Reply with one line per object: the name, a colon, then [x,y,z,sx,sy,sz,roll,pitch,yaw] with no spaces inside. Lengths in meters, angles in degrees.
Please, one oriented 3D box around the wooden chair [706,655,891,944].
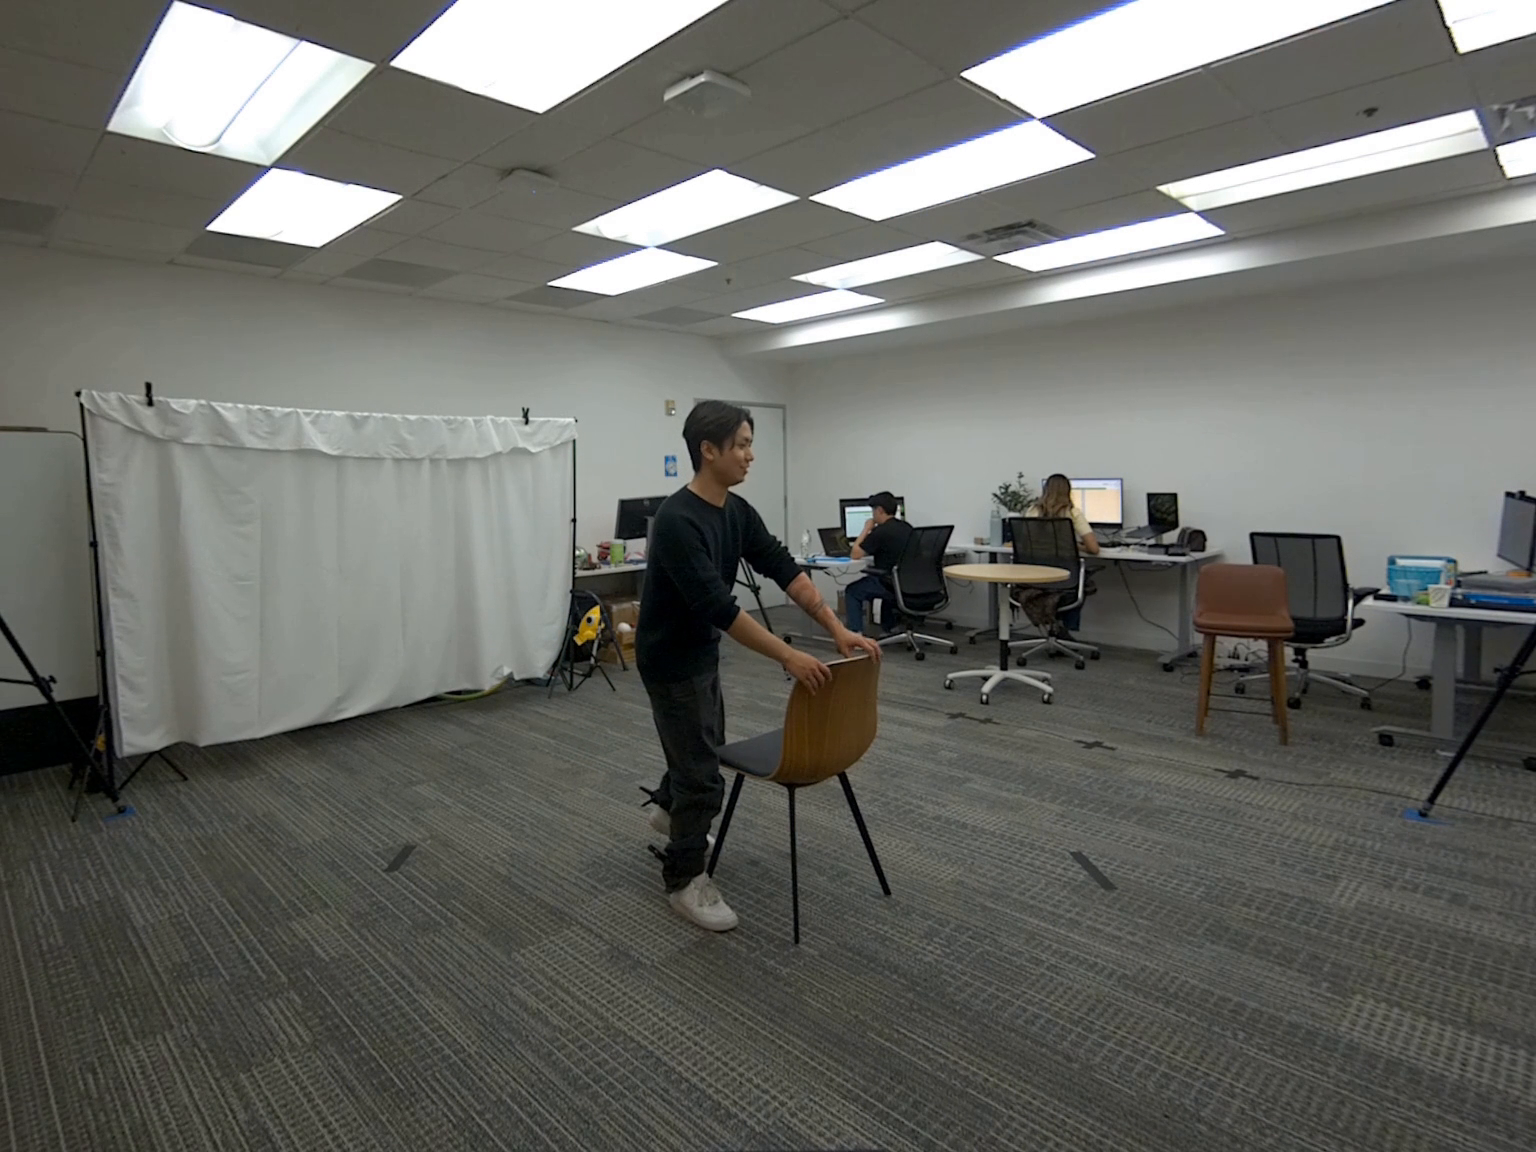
wooden chair: [0.081,0.636,2.845,0.466,0.871,0.541,-6,11,-42]
